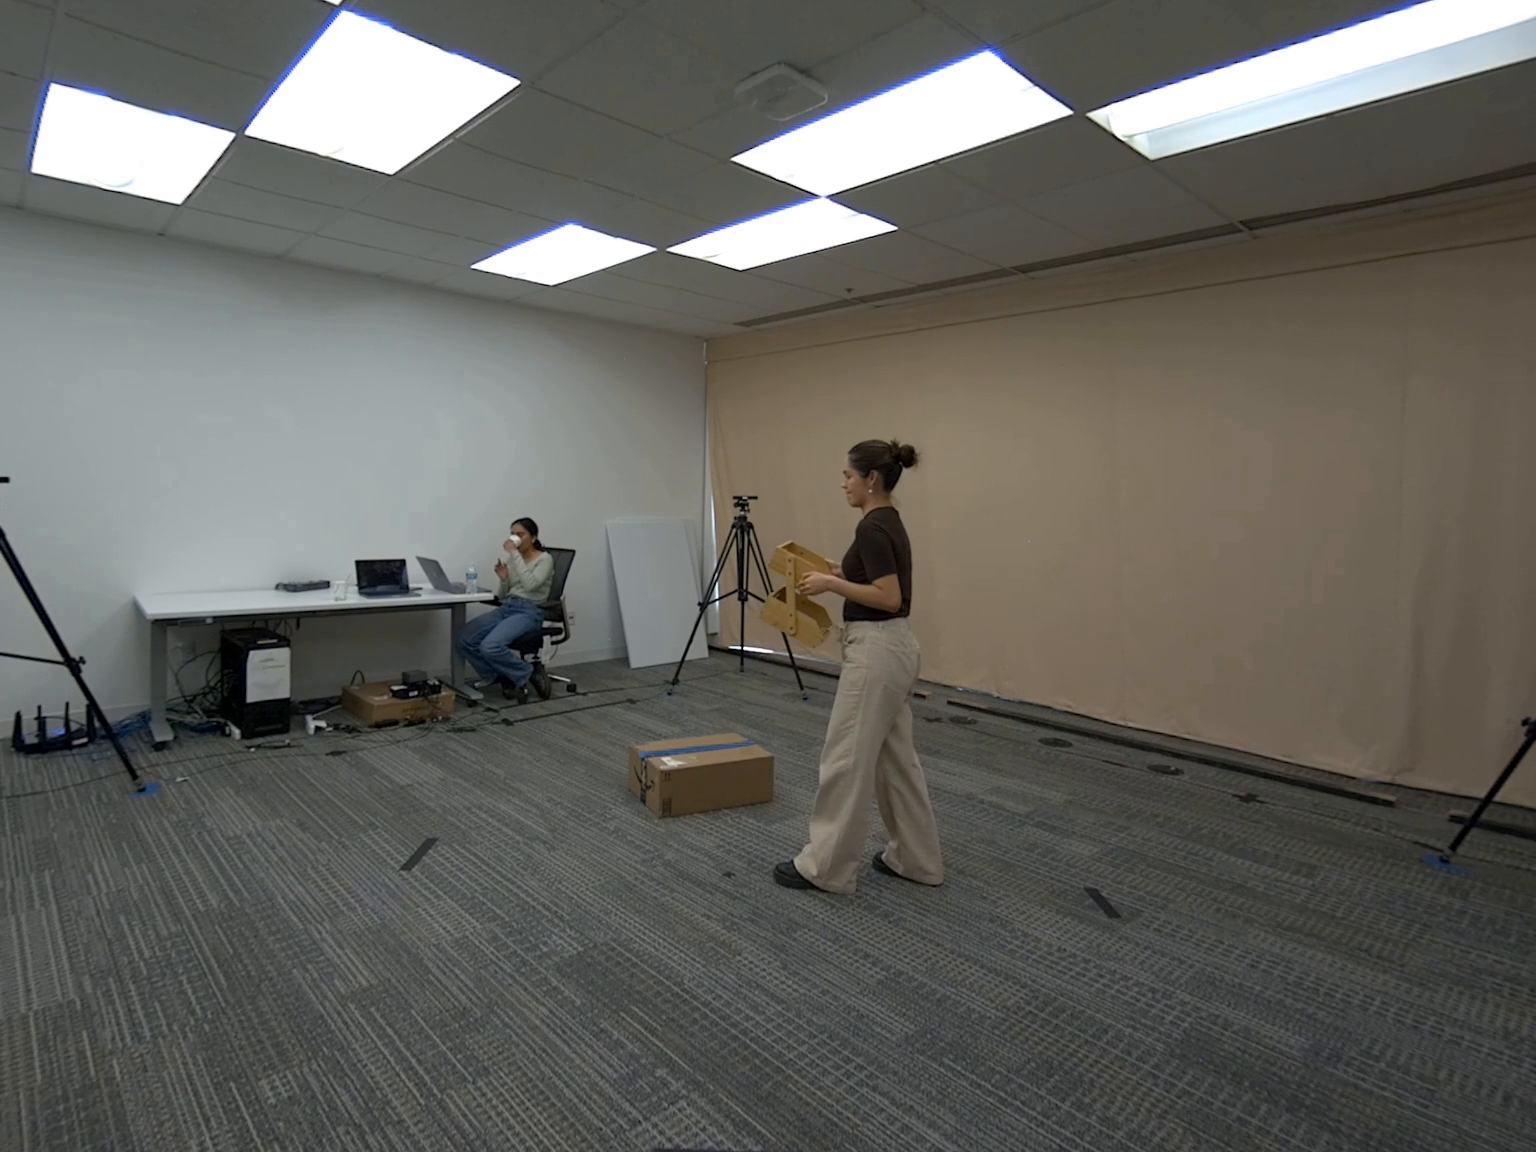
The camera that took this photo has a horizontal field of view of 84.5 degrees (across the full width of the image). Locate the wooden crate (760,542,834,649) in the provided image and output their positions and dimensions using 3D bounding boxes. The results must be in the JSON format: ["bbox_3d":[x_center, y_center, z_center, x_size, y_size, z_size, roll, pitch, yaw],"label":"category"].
[{"bbox_3d":[0.133,0.058,3.091,0.305,0.272,0.322,28,10,7],"label":"wooden crate"}]
